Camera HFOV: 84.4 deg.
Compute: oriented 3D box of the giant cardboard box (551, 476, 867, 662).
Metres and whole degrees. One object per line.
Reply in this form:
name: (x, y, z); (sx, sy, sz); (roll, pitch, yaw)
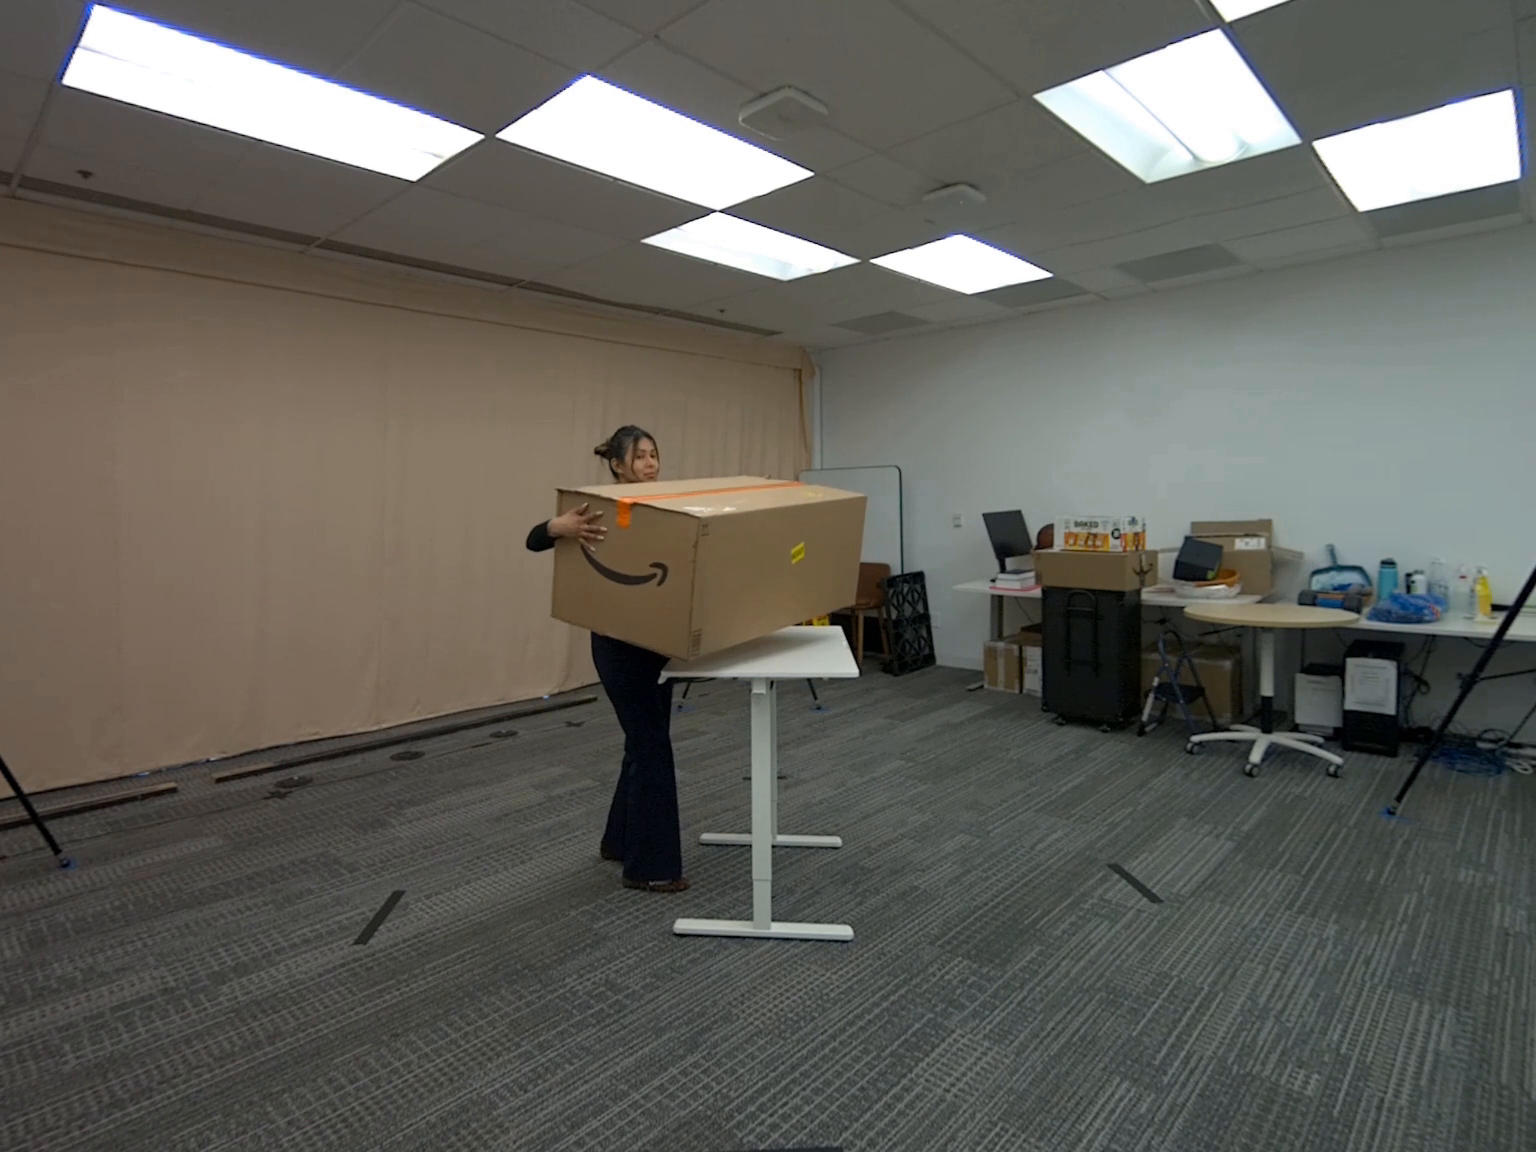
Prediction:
giant cardboard box: (-0.165, -0.080, 2.923); (0.597, 0.423, 0.999); (13, 15, 33)
